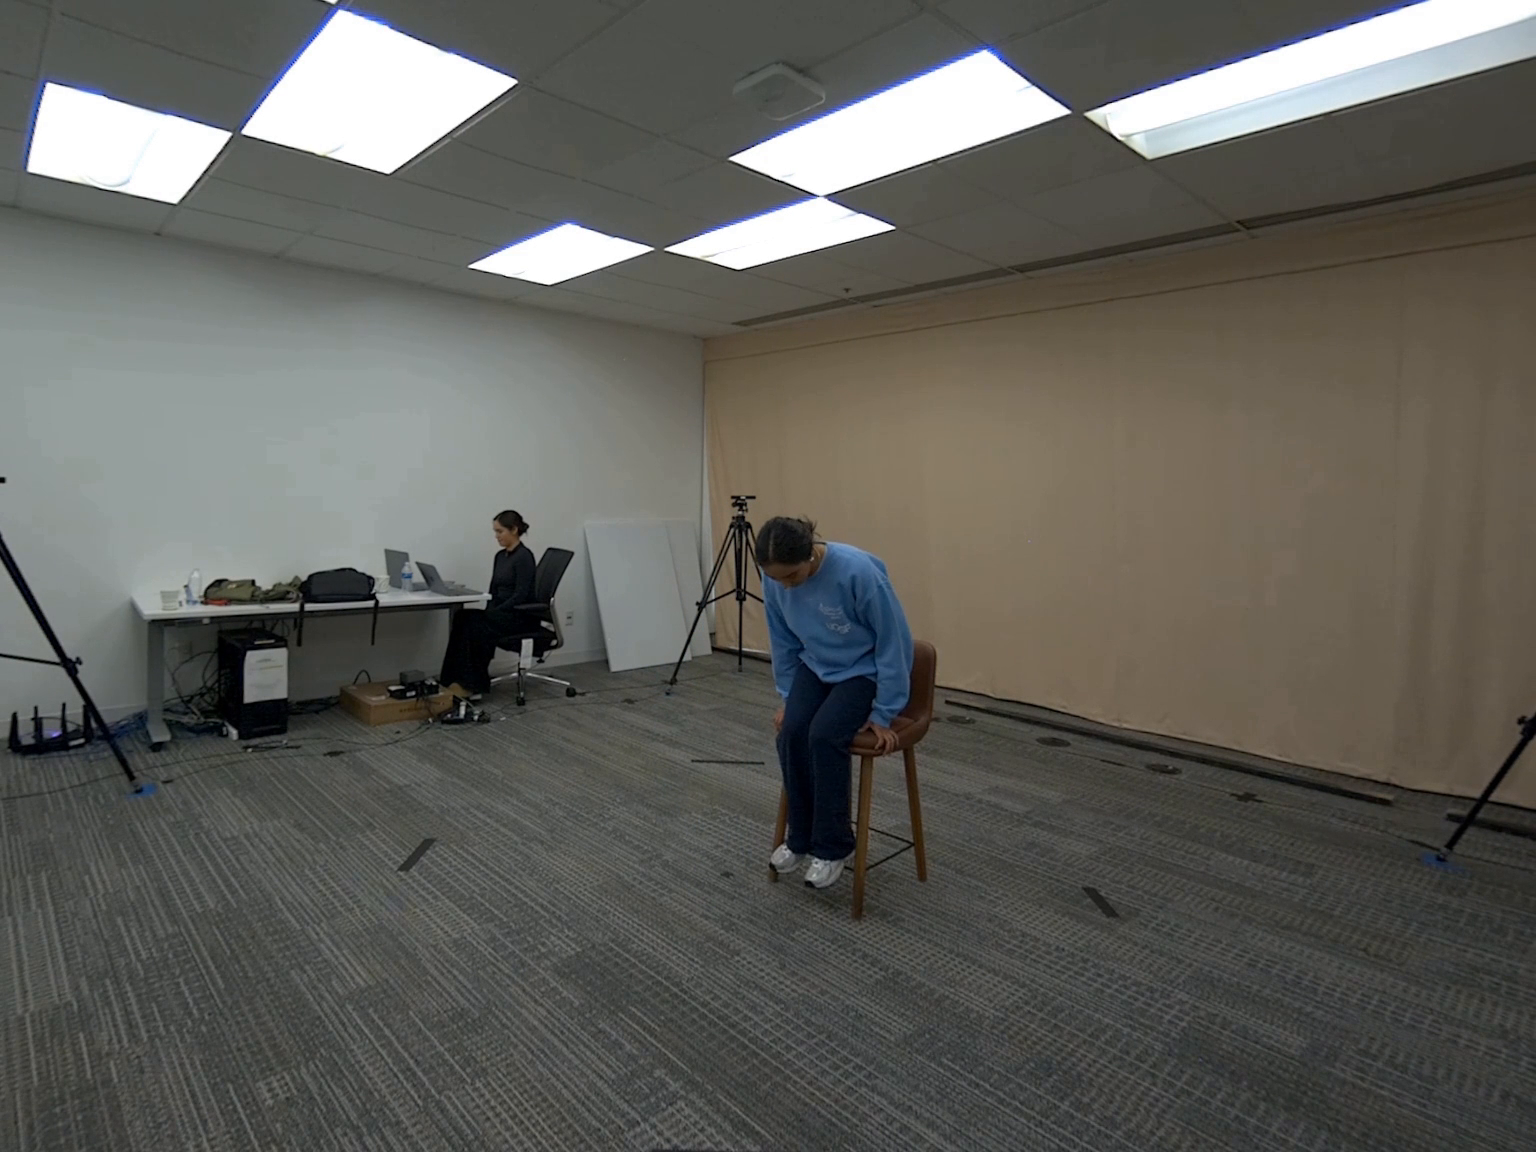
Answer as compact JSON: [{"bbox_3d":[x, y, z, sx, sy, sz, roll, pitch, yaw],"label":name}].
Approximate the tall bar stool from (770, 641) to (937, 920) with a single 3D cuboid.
[{"bbox_3d":[0.316,0.681,3.058,0.468,0.888,0.456,5,3,44],"label":"tall bar stool"}]
